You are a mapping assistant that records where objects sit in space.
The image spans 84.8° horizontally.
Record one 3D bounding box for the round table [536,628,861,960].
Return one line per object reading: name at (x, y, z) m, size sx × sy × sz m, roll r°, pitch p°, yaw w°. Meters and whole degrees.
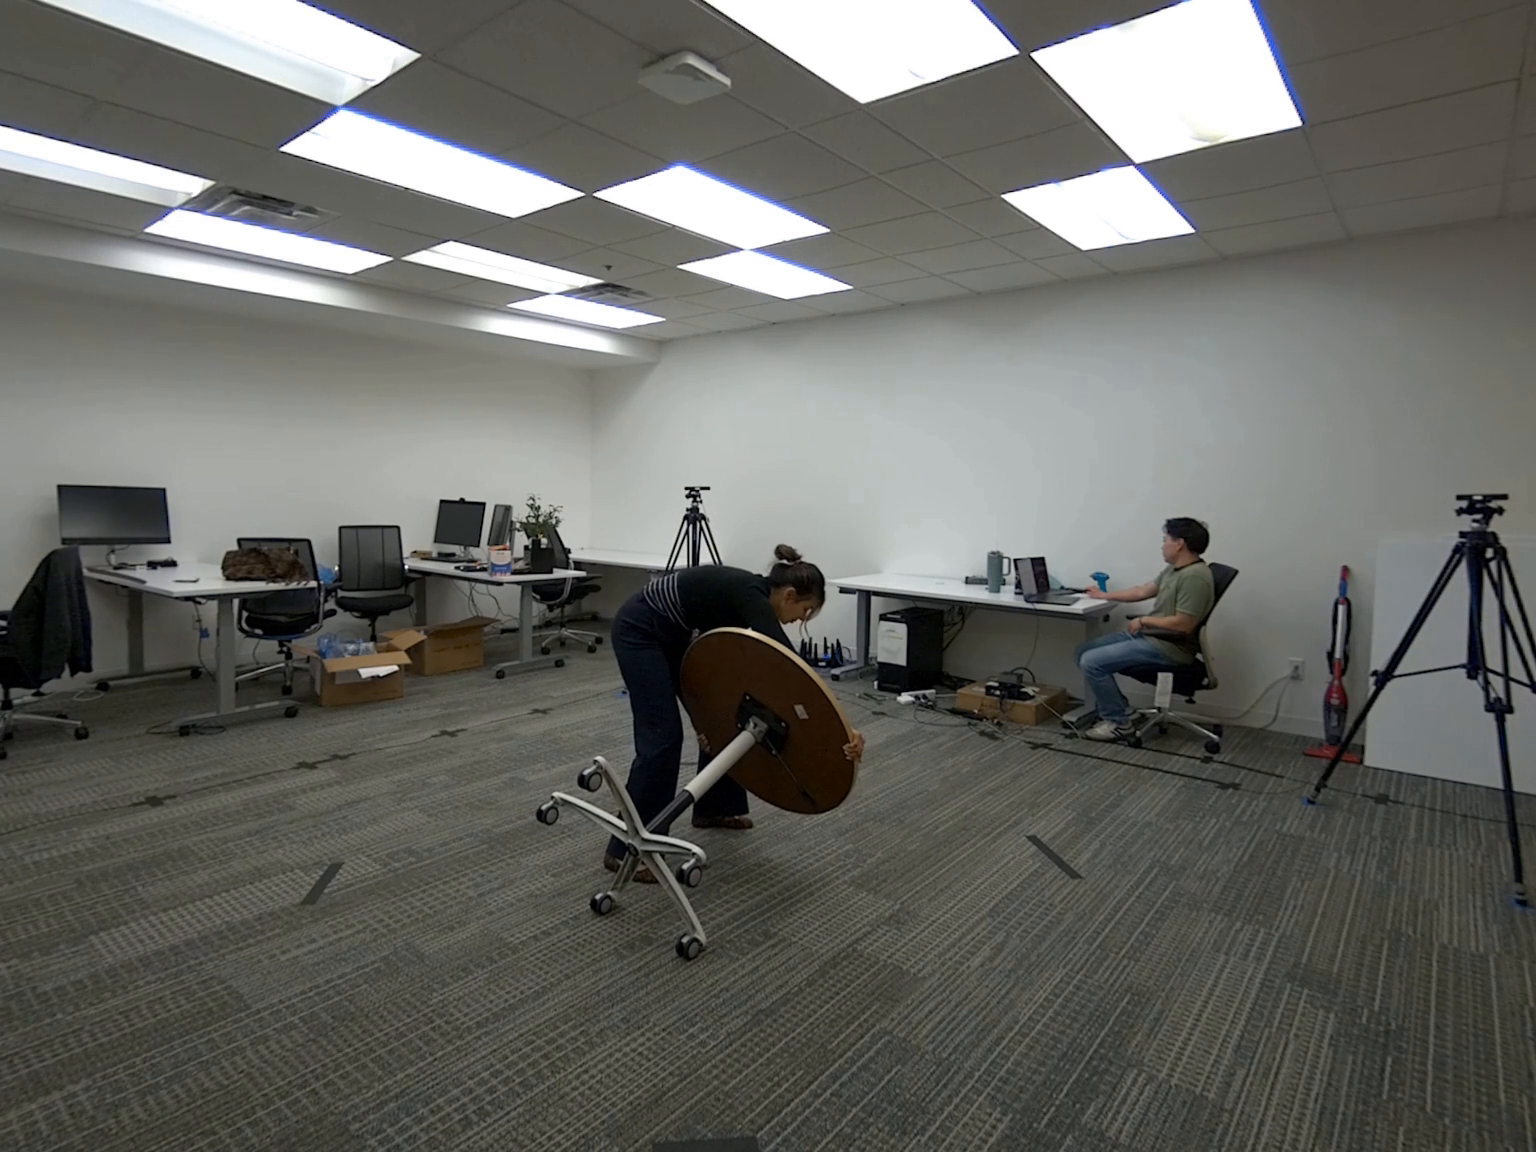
round table at (-0.244, 0.700, 2.802) m, size 0.790 × 0.746 × 0.786 m, roll 4°, pitch 28°, yaw 40°
